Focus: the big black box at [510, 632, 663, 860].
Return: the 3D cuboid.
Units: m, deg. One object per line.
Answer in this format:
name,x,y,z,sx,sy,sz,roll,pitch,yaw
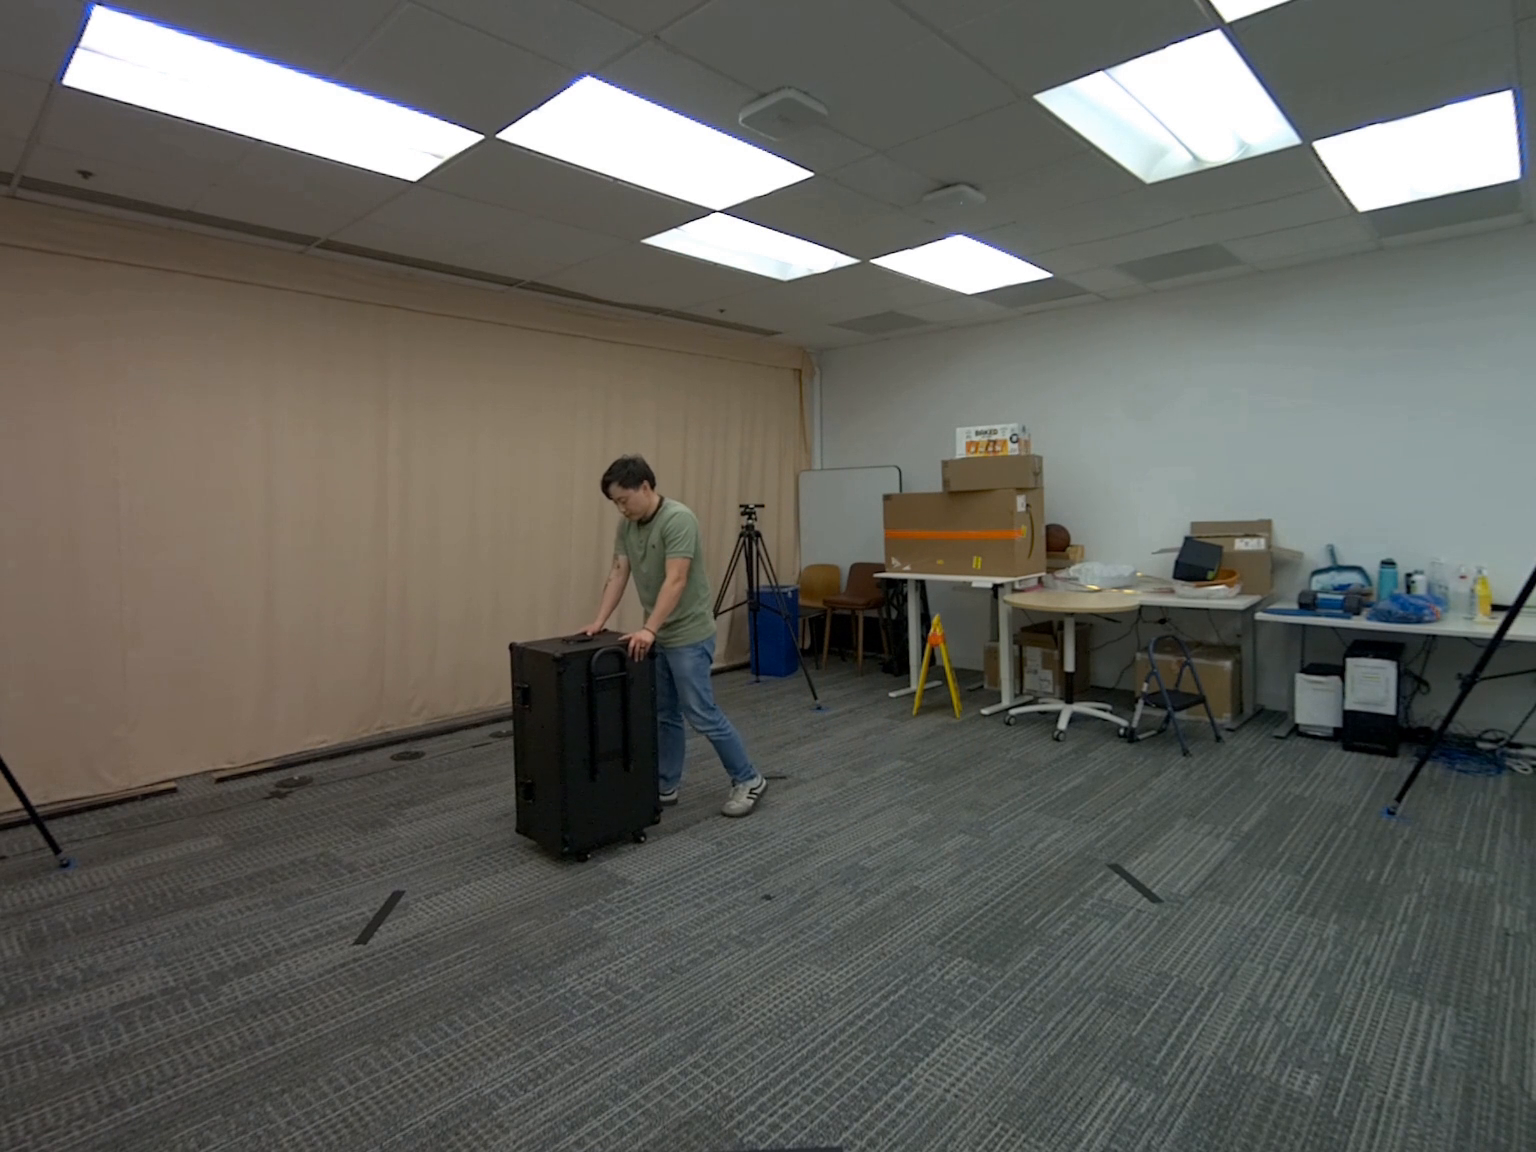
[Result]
big black box,-0.743,0.695,3.469,0.505,0.859,0.409,-5,6,-45
